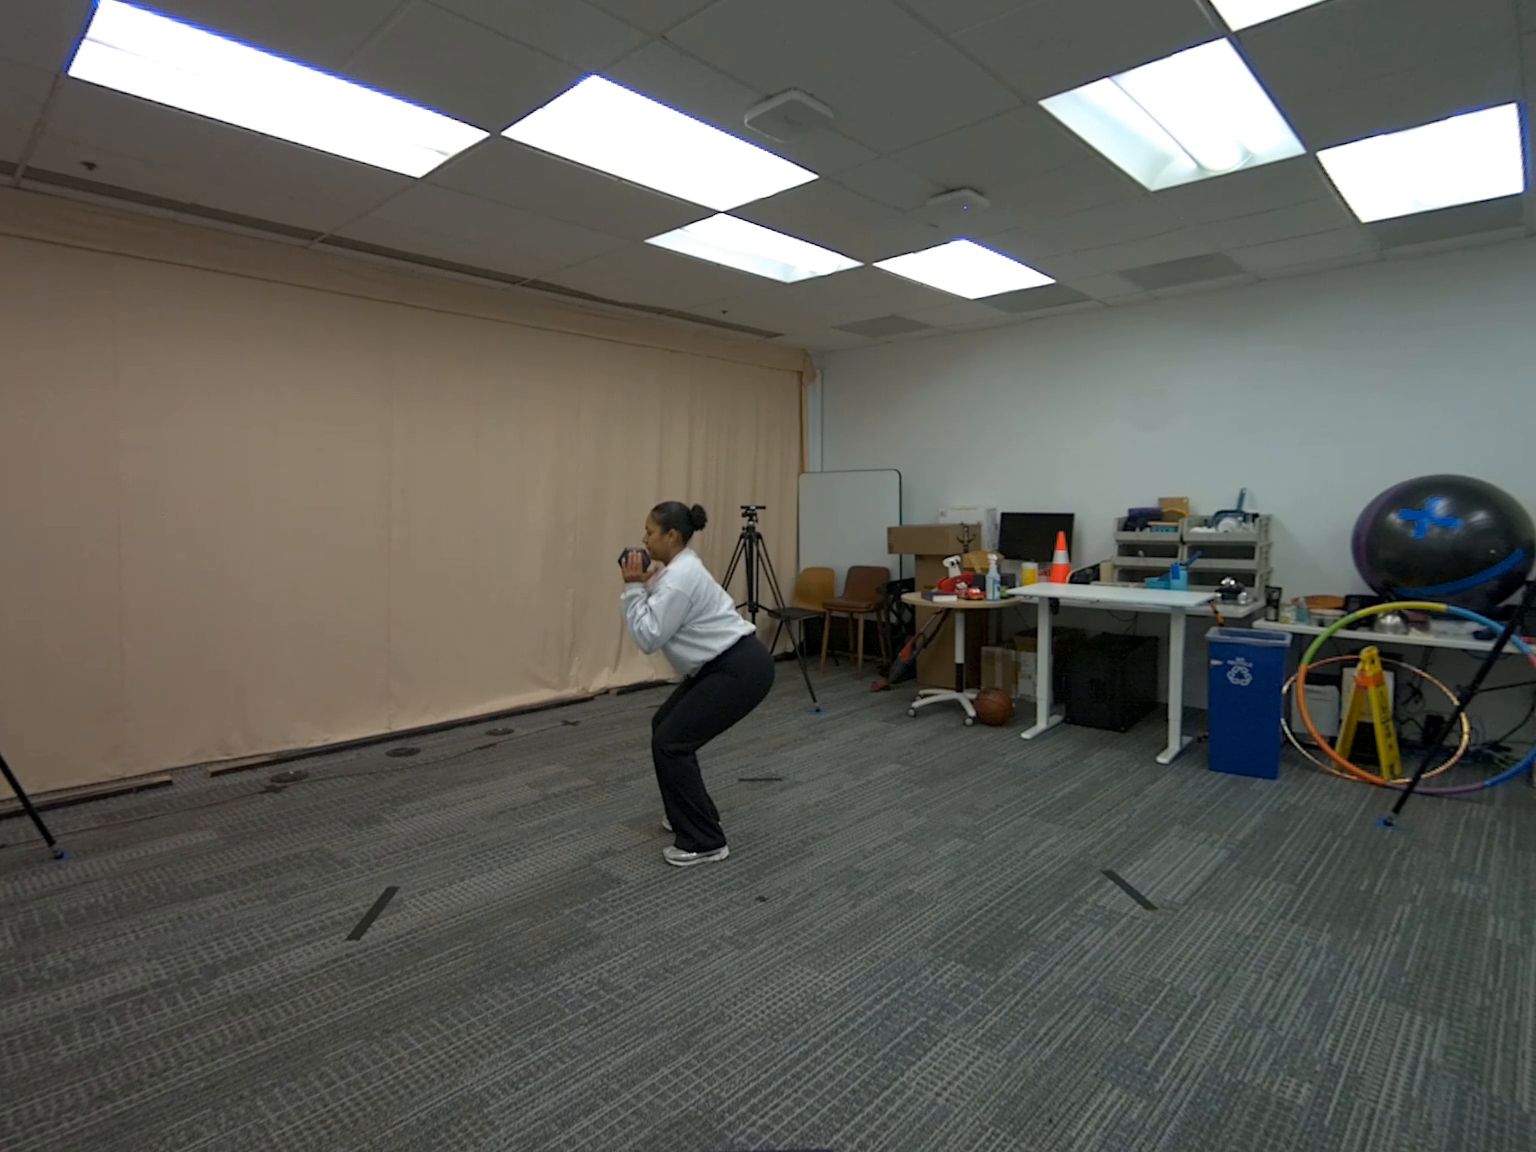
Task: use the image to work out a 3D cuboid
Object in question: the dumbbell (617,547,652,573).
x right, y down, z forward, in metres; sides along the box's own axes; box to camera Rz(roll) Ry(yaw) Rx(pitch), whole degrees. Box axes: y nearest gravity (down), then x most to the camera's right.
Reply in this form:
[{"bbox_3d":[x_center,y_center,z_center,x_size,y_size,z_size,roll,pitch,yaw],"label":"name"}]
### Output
[{"bbox_3d":[-0.535,-0.059,3.432,0.108,0.123,0.295,33,-1,-6],"label":"dumbbell"}]
